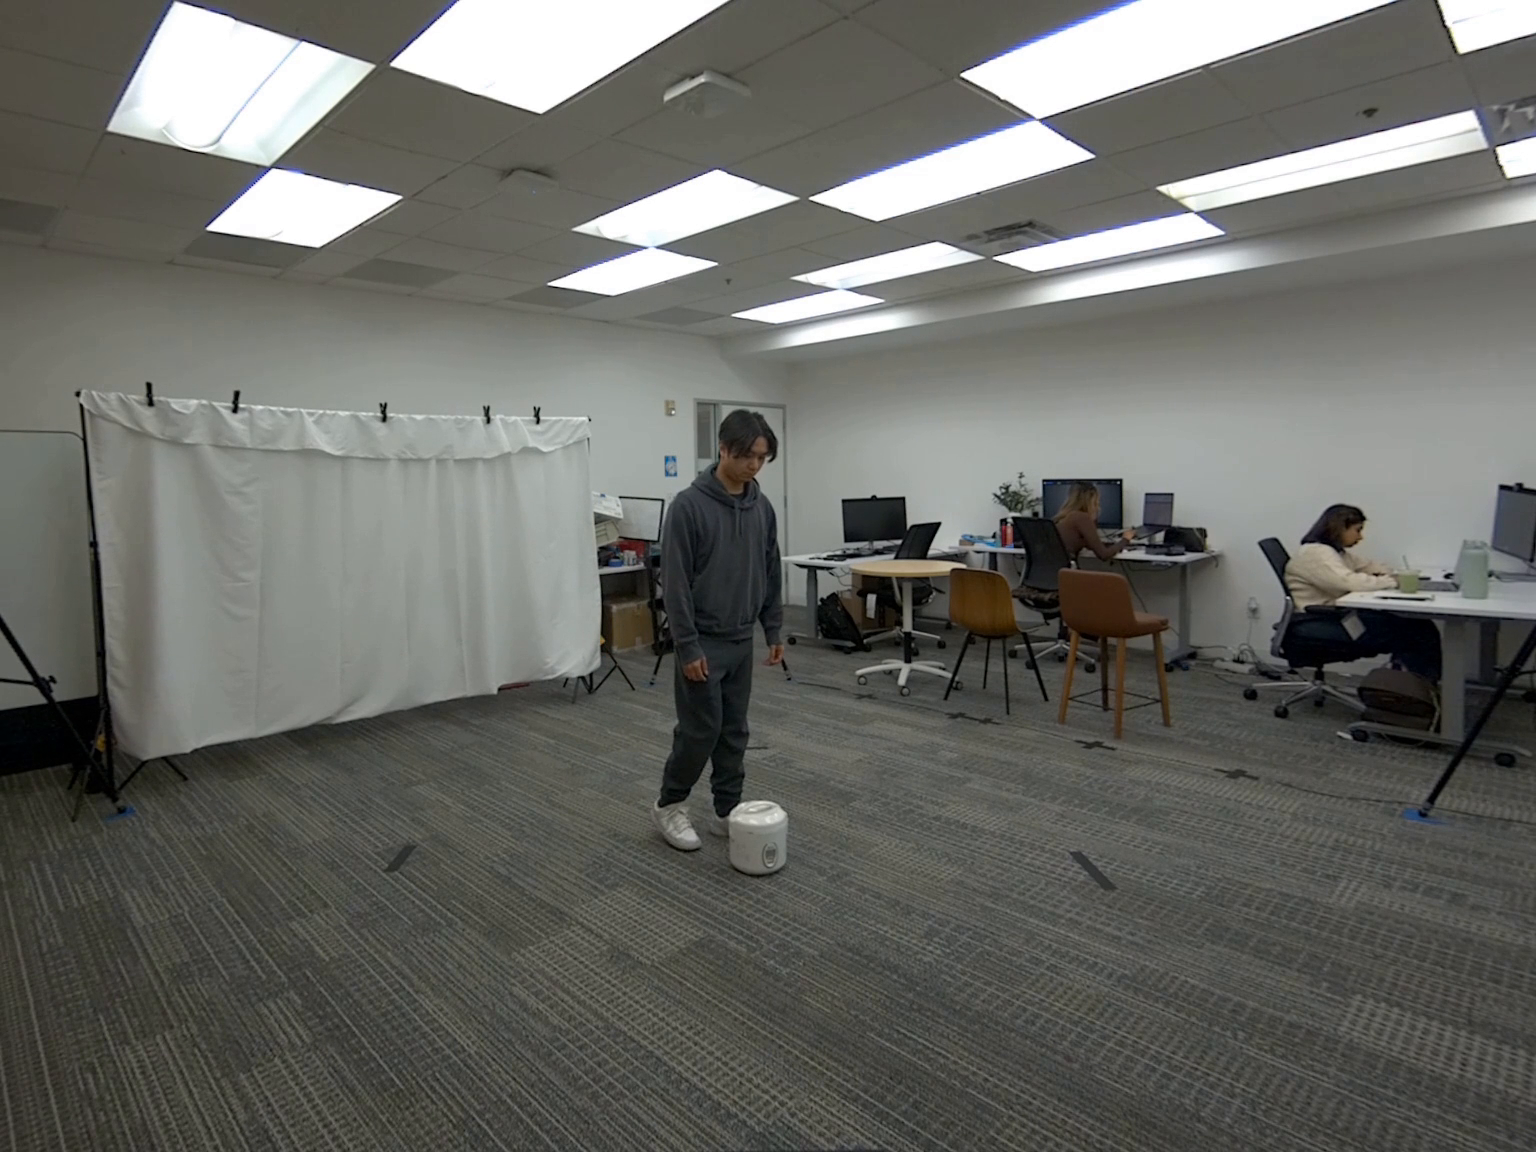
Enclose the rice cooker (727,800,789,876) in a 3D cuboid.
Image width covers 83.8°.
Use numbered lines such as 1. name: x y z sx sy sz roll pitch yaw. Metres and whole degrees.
1. rice cooker: -0.031 0.926 3.080 0.216 0.232 0.222 -3 4 -23
